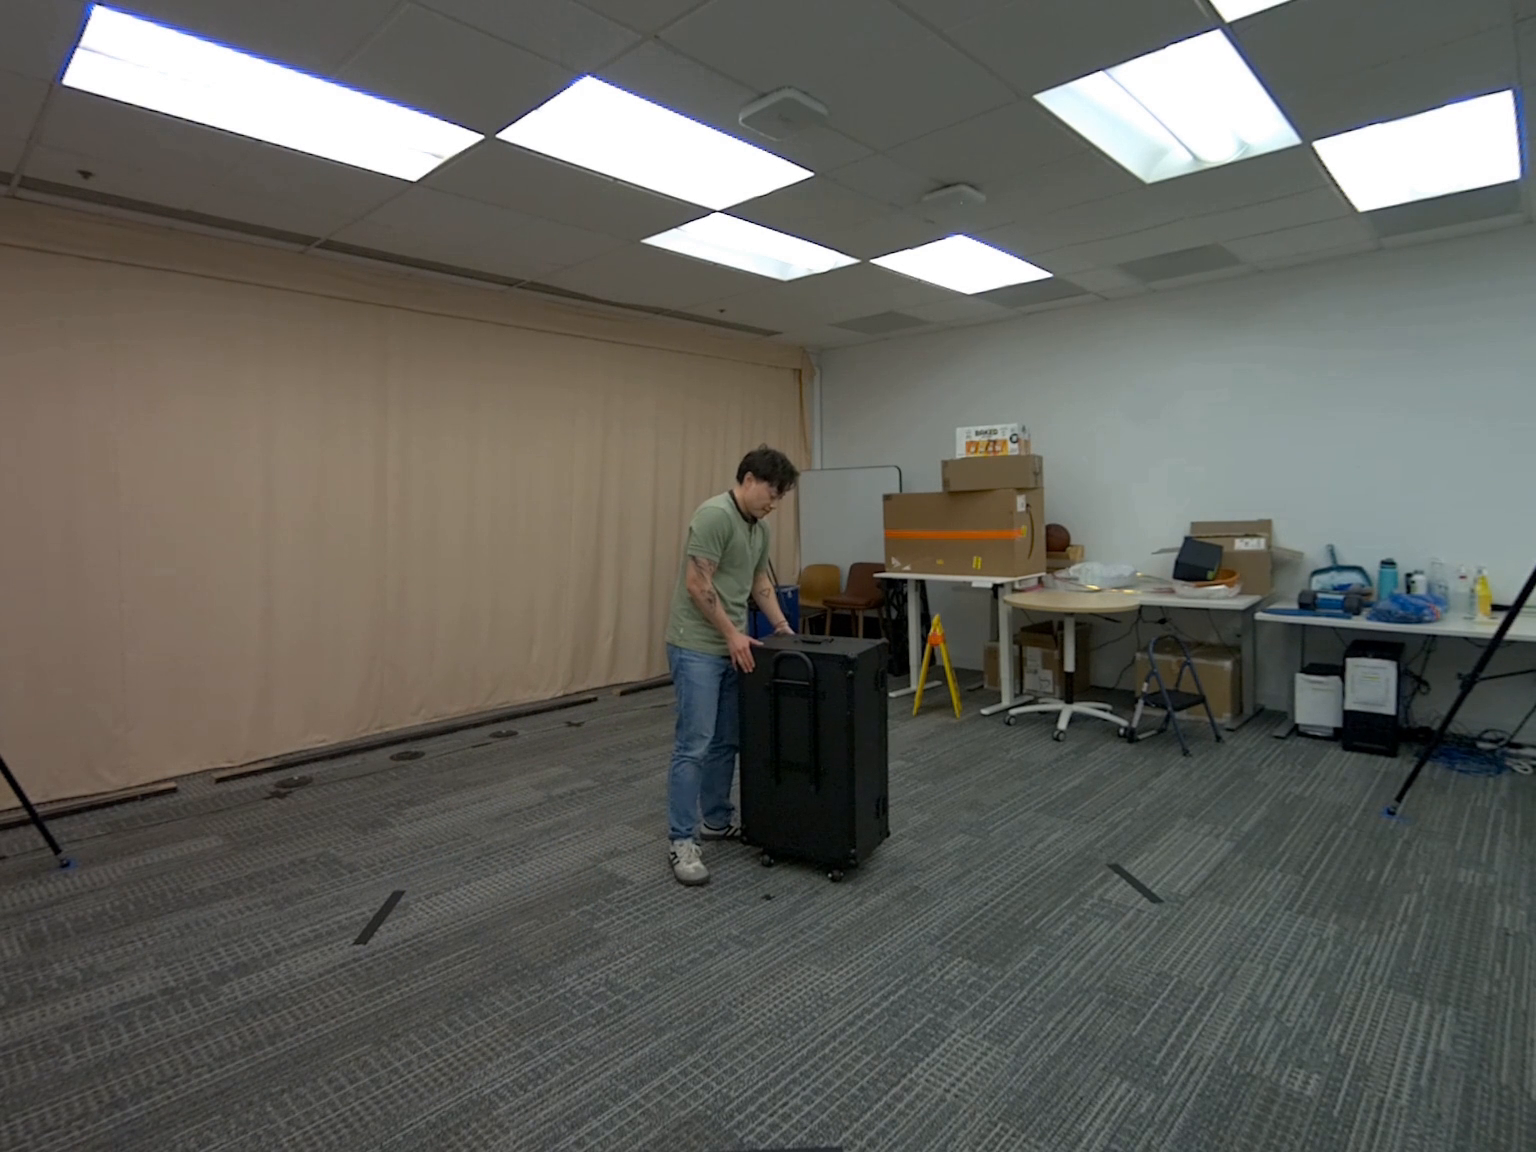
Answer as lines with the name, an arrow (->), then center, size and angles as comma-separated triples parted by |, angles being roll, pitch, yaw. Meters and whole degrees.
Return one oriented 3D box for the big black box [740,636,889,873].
big black box -> 0.190, 0.685, 3.272 | 0.536, 0.859, 0.386 | 1, 5, 30
